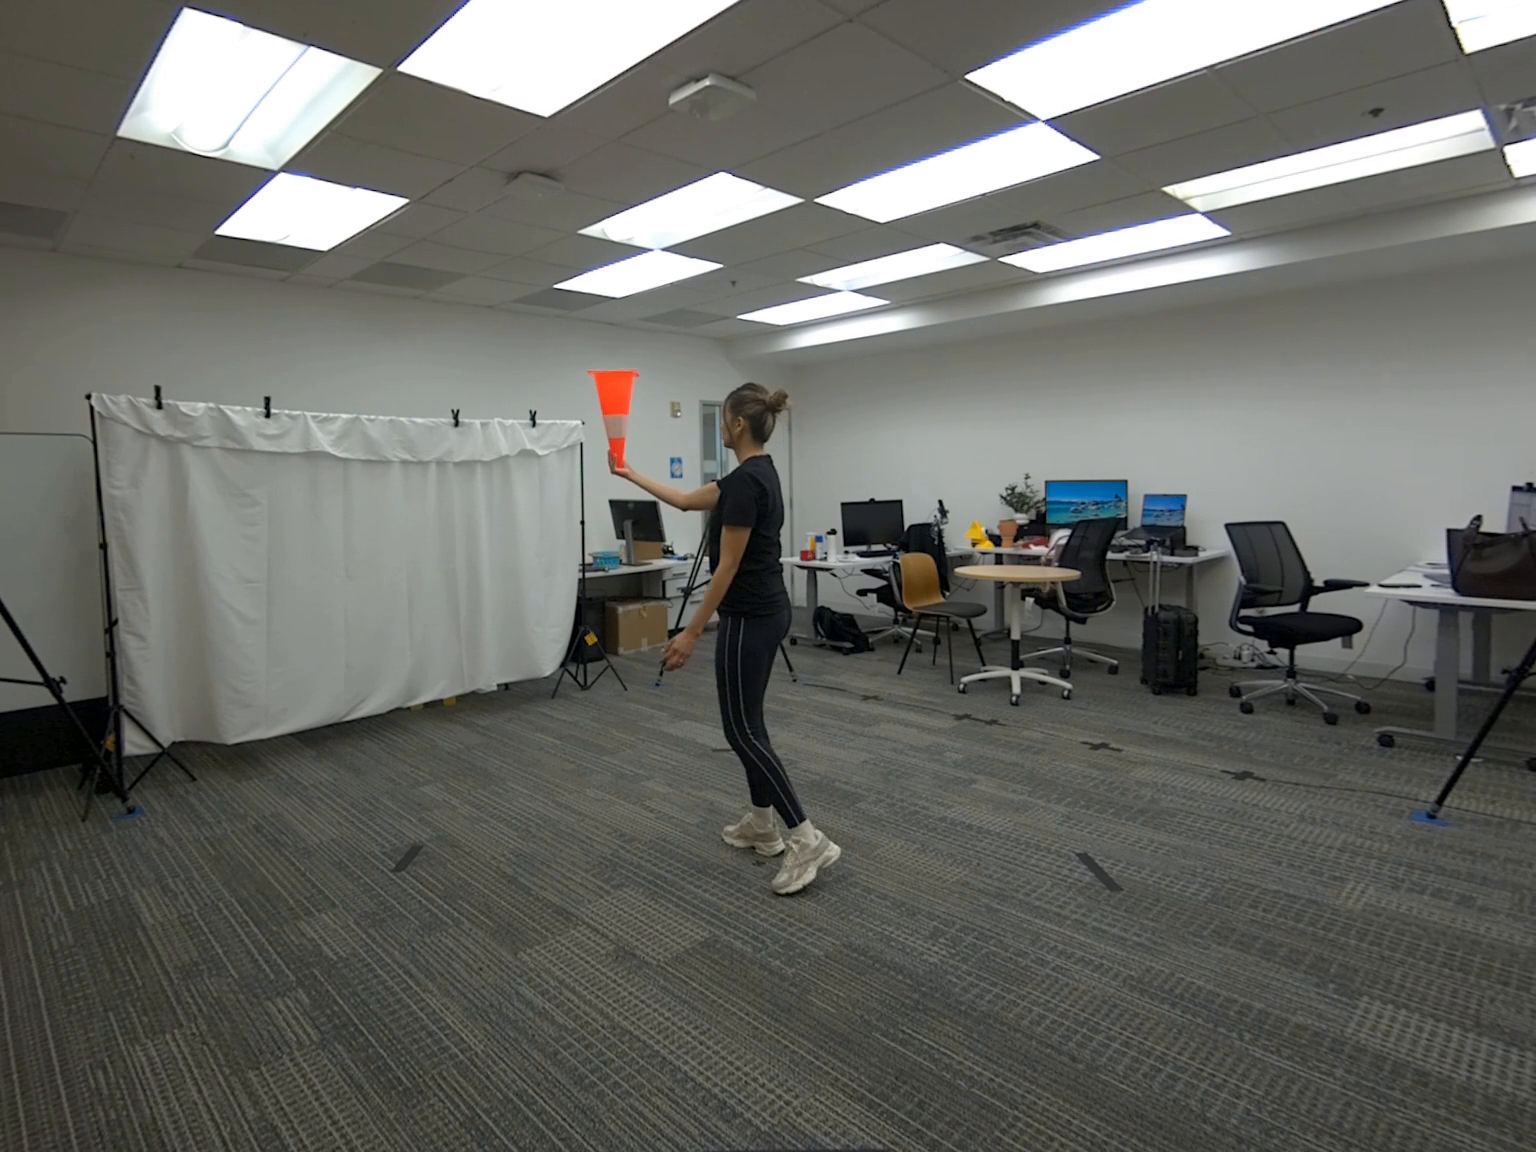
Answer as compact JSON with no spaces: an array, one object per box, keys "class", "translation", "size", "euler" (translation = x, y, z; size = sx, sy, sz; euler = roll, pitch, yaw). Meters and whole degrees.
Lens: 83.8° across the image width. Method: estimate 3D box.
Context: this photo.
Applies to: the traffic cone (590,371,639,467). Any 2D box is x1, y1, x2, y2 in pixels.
[{"class":"traffic cone","translation":[-0.613,-0.622,3.435],"size":[0.203,0.382,0.206],"euler":[-2,5,0]}]
